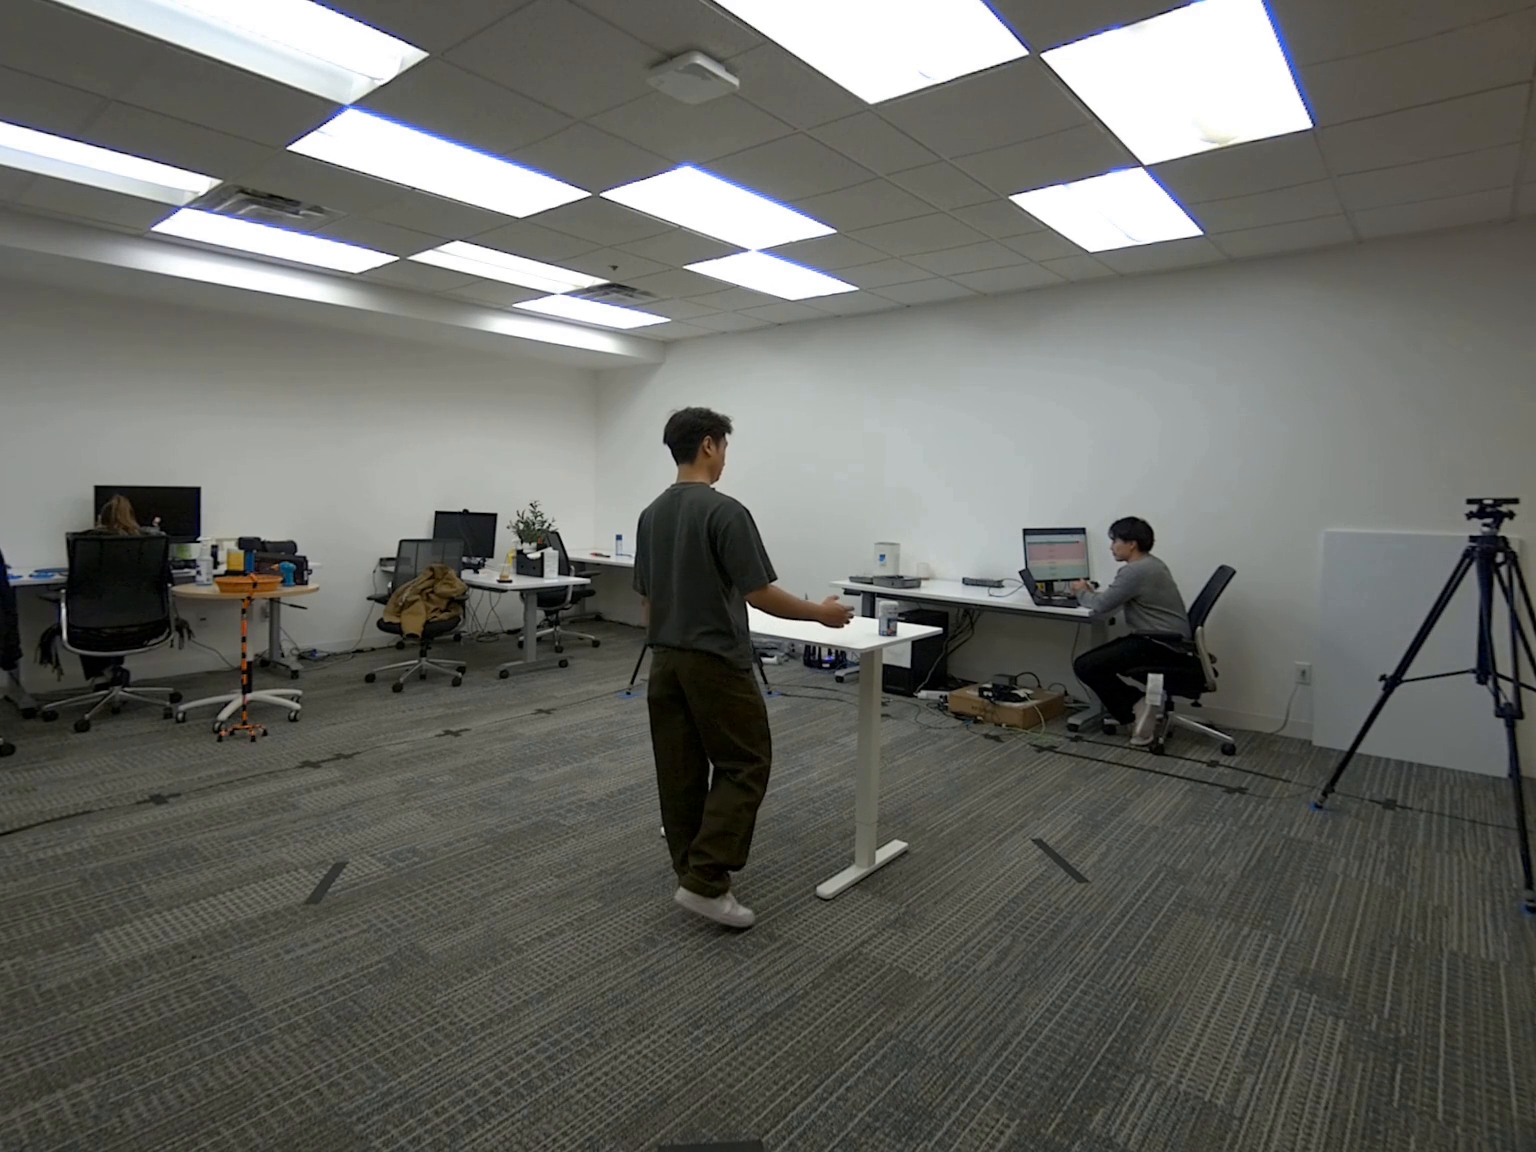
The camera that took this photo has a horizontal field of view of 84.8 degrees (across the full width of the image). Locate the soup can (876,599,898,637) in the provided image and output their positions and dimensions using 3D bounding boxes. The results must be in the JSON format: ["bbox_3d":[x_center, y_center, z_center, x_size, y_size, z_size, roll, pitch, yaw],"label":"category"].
[{"bbox_3d":[0.419,0.155,3.025,0.067,0.121,0.068,0,7,-2],"label":"soup can"}]
